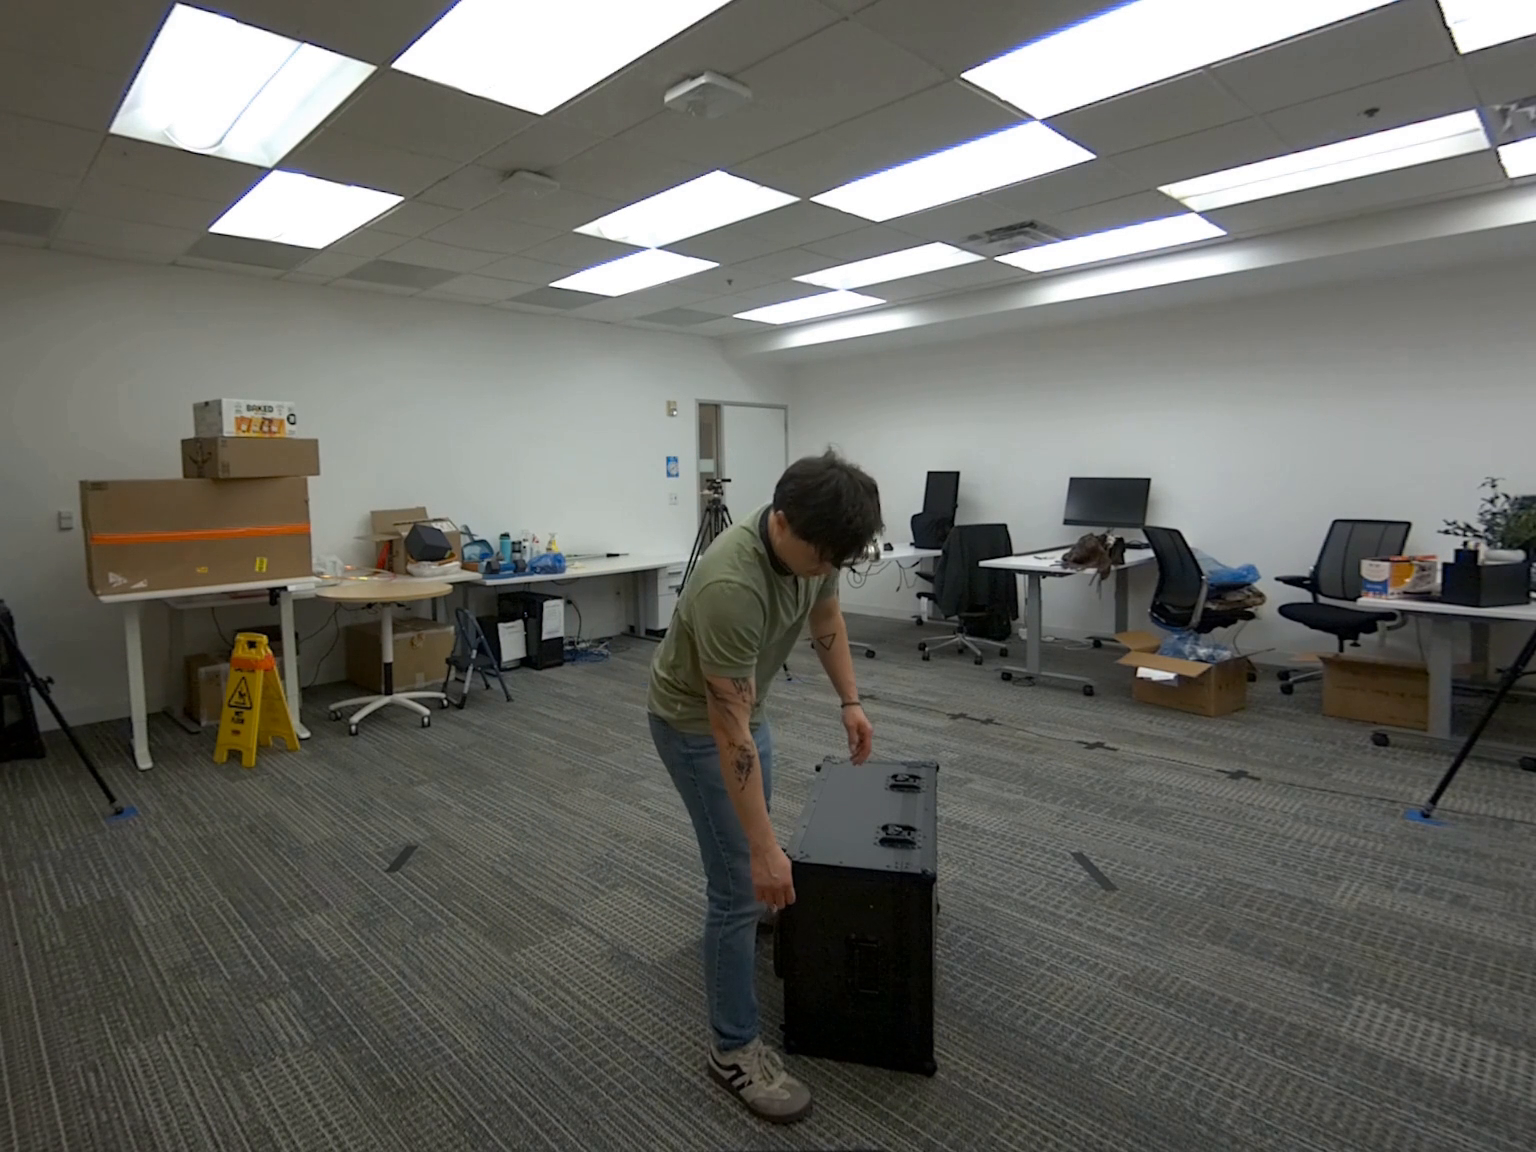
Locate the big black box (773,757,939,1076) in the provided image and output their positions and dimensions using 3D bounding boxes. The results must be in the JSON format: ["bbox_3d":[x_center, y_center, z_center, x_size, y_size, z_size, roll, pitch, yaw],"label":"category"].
[{"bbox_3d":[0.276,0.872,2.369,0.401,0.519,0.854,0,6,12],"label":"big black box"}]
